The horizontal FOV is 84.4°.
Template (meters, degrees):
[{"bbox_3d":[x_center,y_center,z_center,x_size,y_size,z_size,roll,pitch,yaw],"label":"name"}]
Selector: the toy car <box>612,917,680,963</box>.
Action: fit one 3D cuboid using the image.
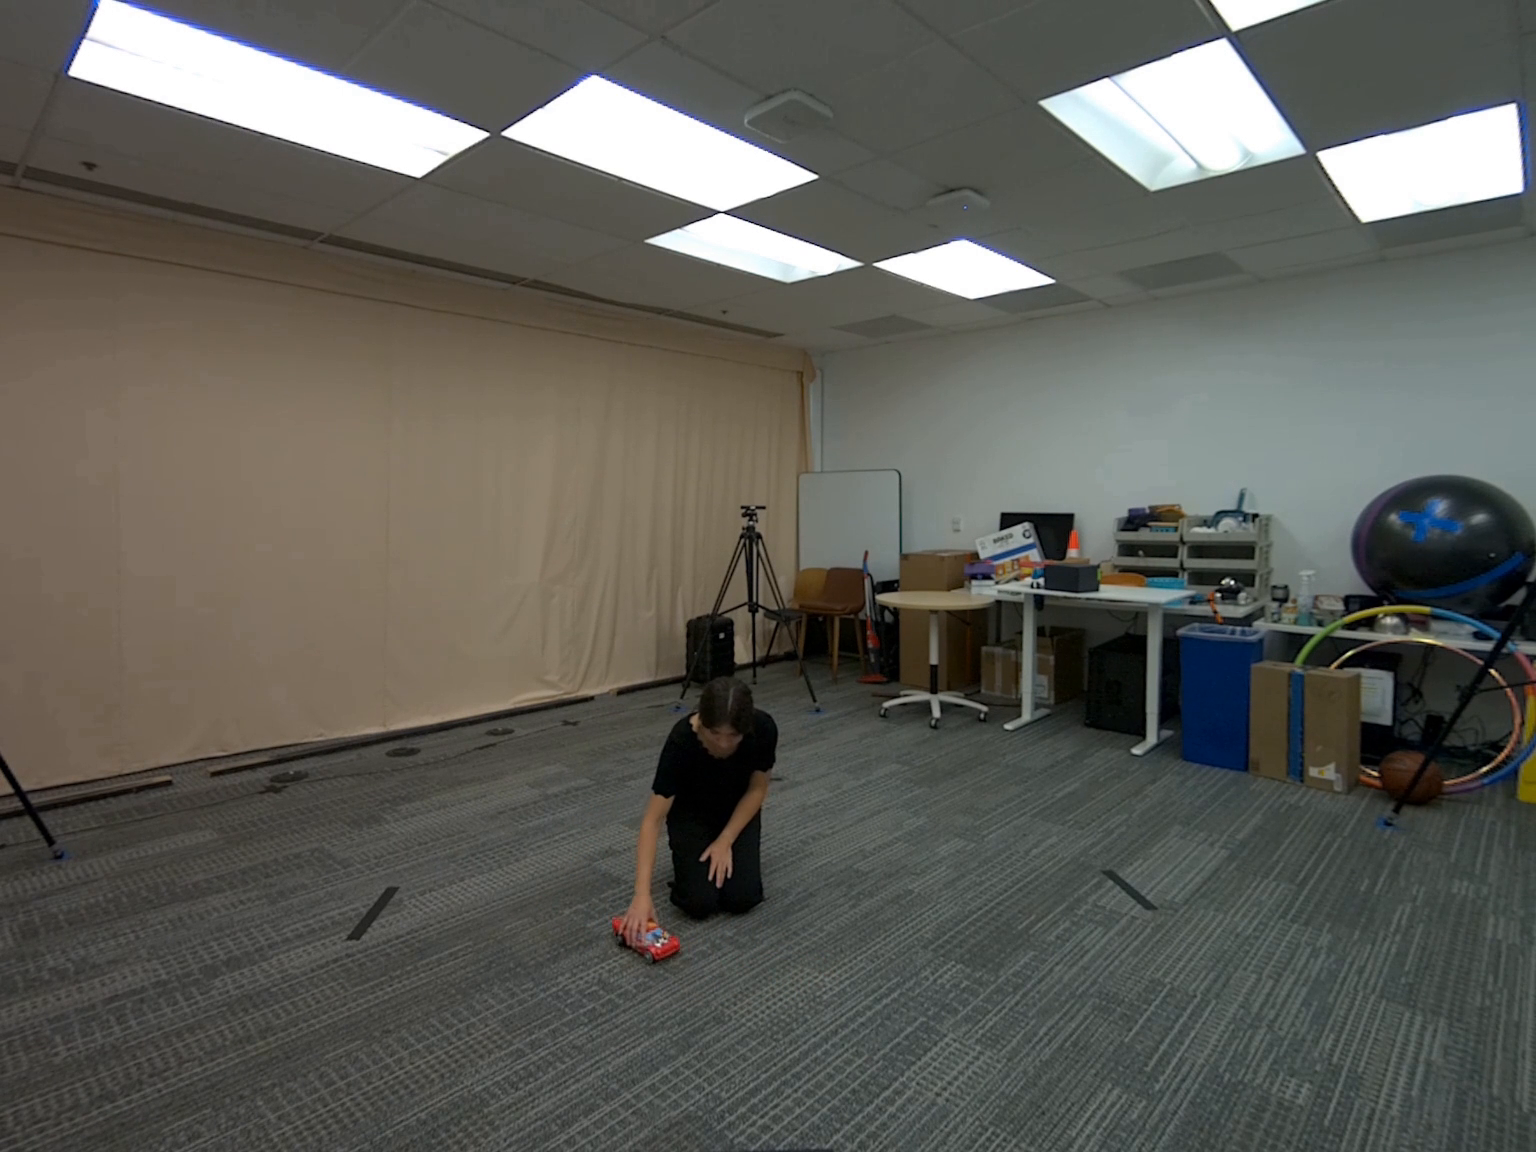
[{"bbox_3d":[-0.394,1.139,2.667,0.126,0.083,0.264,-6,16,-43],"label":"toy car"}]
